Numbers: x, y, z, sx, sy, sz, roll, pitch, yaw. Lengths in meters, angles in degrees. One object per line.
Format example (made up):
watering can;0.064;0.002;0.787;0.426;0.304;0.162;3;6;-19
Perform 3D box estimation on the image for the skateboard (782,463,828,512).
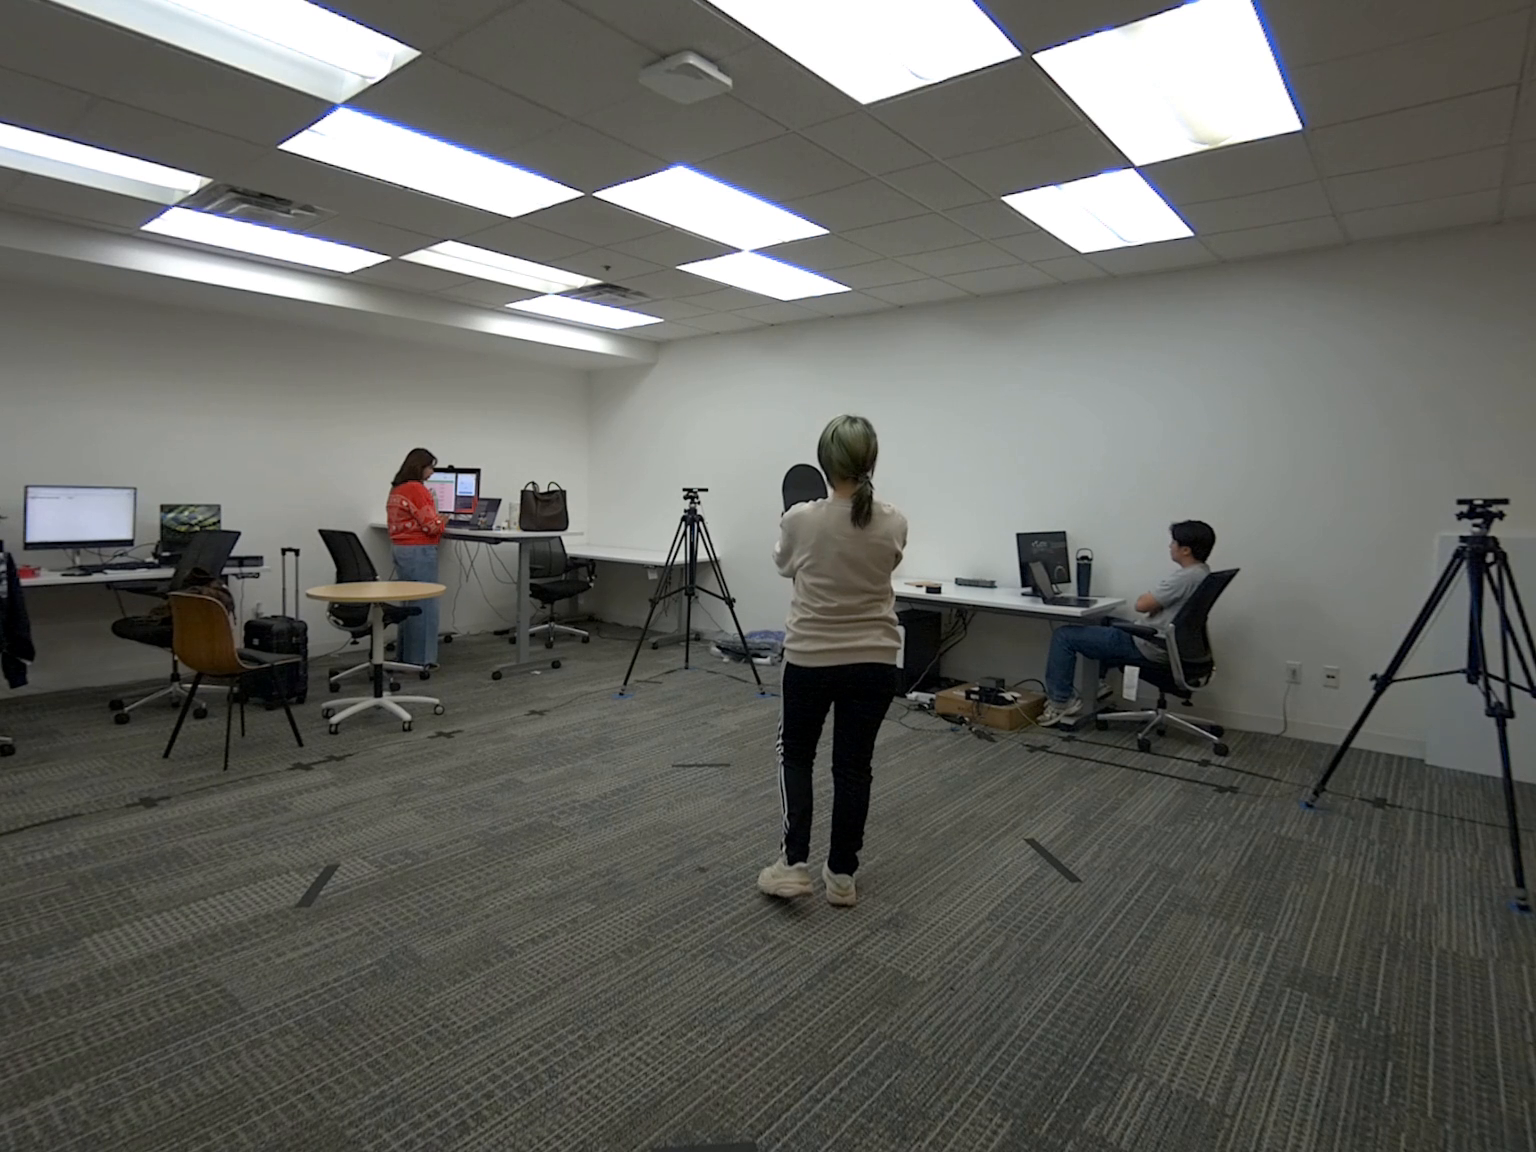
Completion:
skateboard;0.166;-0.070;3.401;0.192;0.801;0.109;-3;-19;-9
